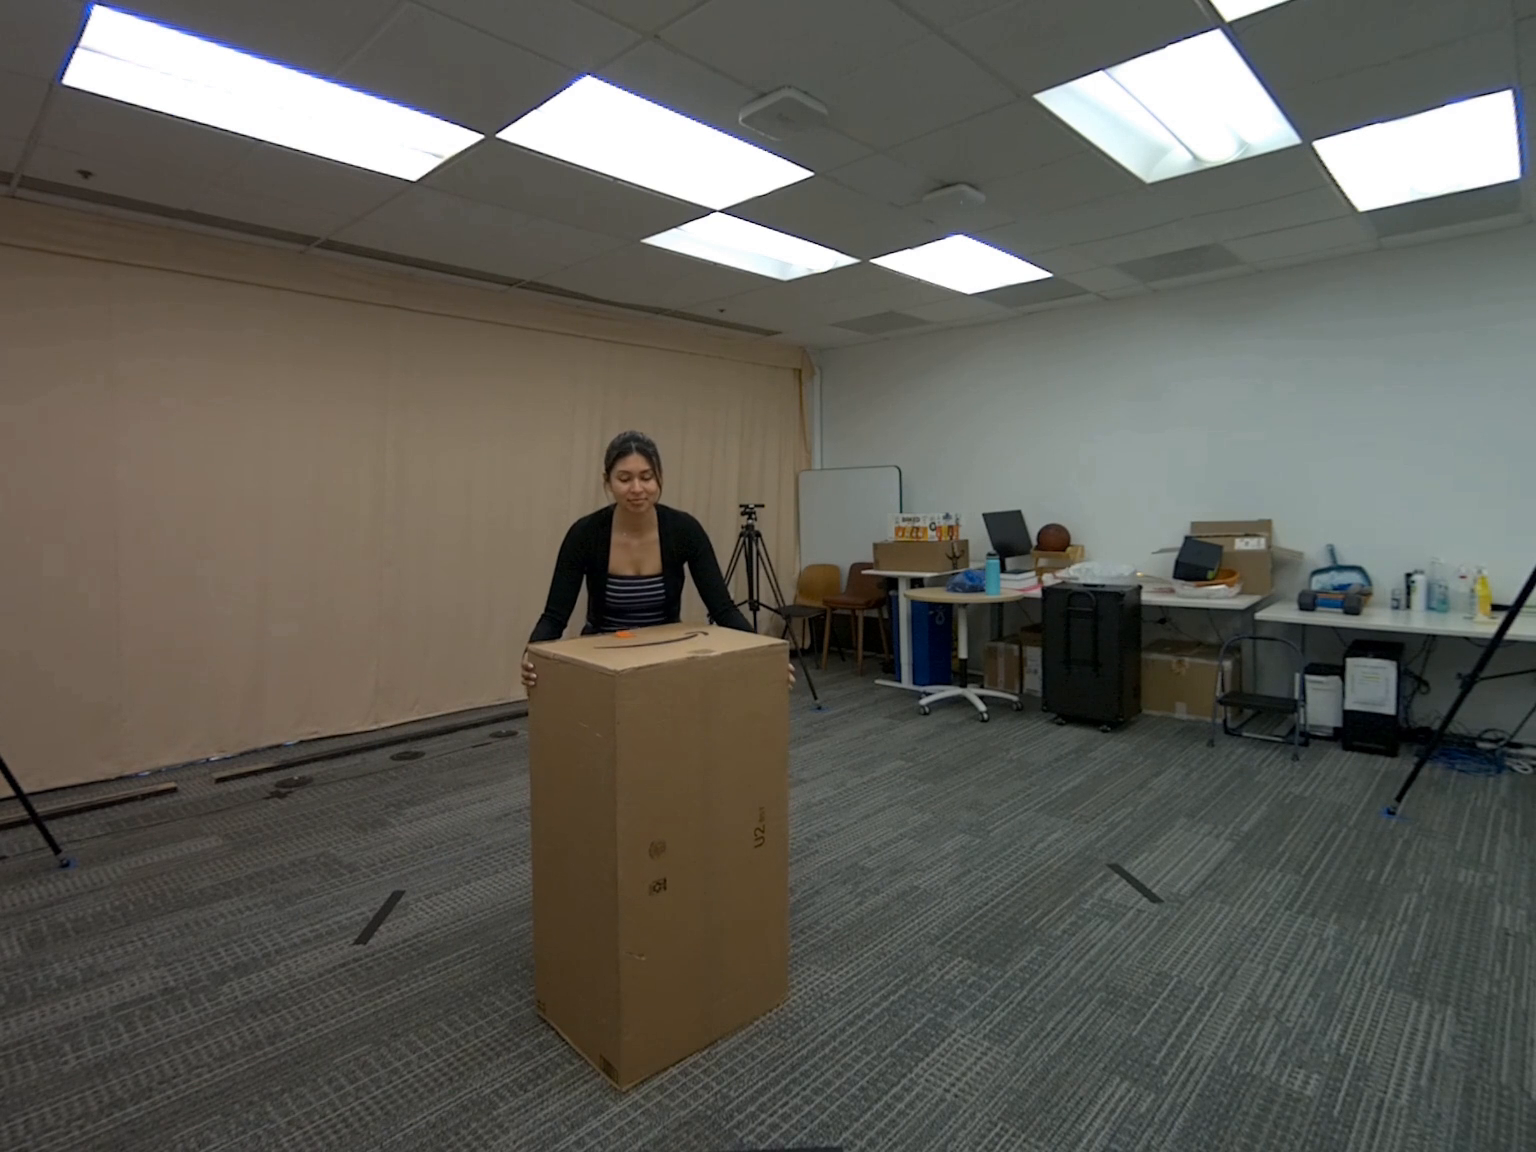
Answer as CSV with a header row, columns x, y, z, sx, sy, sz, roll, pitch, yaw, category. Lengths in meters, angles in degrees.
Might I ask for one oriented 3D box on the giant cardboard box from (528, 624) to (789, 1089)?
x,y,z,sx,sy,sz,roll,pitch,yaw,category
-0.286,0.694,2.299,0.560,1.023,0.441,-4,6,-43,giant cardboard box
